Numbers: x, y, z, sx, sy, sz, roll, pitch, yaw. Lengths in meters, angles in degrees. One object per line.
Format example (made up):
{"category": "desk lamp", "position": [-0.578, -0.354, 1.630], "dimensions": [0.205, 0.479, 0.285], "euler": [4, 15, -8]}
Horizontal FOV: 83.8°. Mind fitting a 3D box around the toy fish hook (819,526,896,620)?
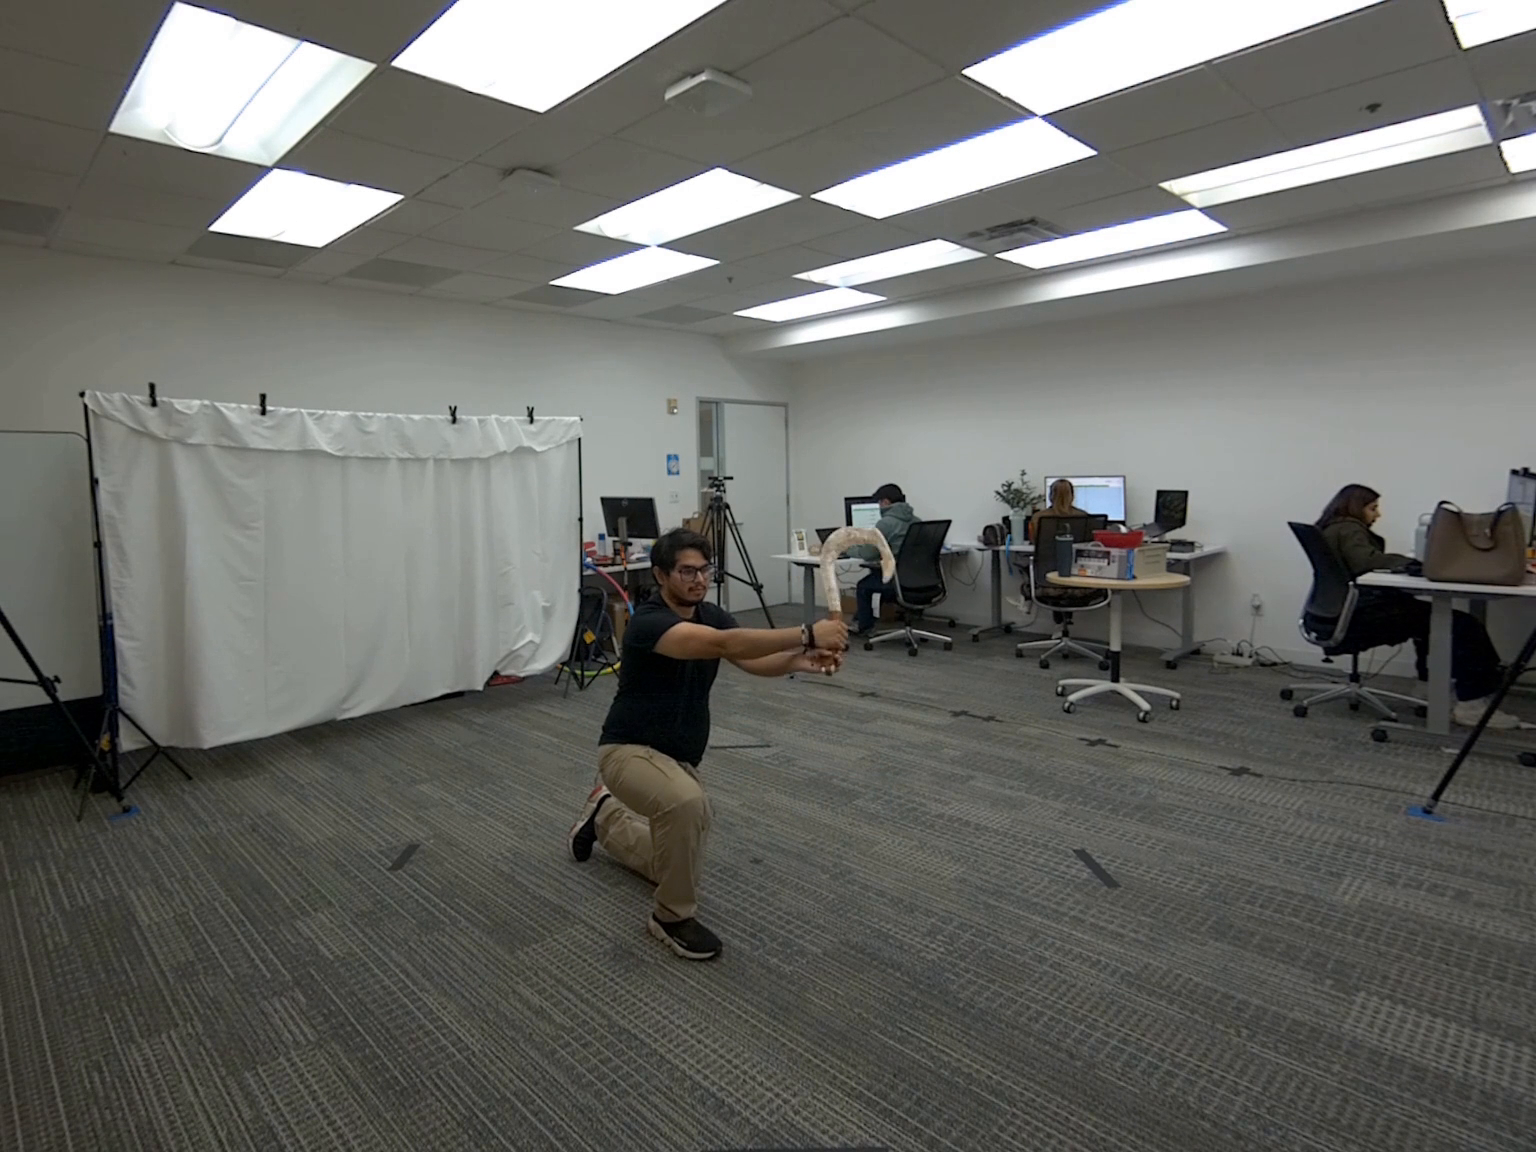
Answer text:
{"category": "toy fish hook", "position": [0.261, 0.081, 2.545], "dimensions": [0.228, 0.516, 0.046], "euler": [-2, -30, 18]}
